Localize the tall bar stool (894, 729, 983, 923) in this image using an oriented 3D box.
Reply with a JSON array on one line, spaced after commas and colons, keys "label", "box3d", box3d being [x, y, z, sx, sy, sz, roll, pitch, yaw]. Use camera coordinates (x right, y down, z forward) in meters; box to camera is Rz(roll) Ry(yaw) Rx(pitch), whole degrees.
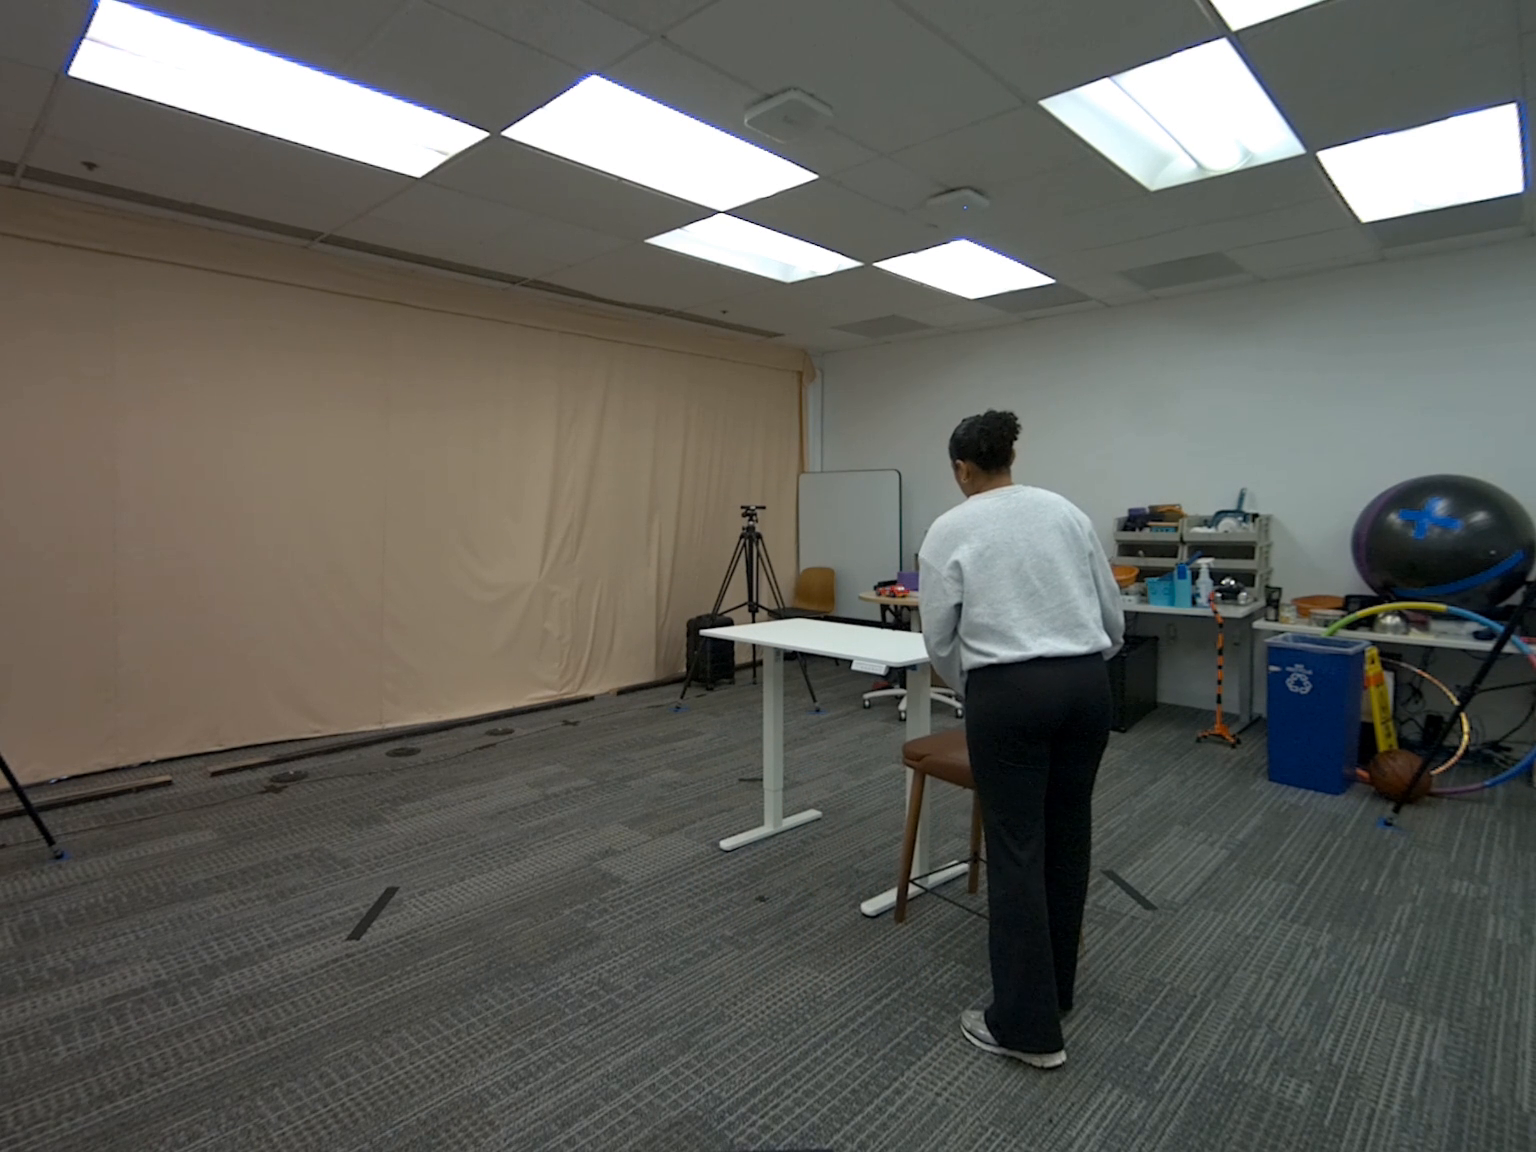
[{"label": "tall bar stool", "box3d": [0.728, 0.723, 2.717, 0.443, 0.887, 0.483, -2, 7, -37]}]
